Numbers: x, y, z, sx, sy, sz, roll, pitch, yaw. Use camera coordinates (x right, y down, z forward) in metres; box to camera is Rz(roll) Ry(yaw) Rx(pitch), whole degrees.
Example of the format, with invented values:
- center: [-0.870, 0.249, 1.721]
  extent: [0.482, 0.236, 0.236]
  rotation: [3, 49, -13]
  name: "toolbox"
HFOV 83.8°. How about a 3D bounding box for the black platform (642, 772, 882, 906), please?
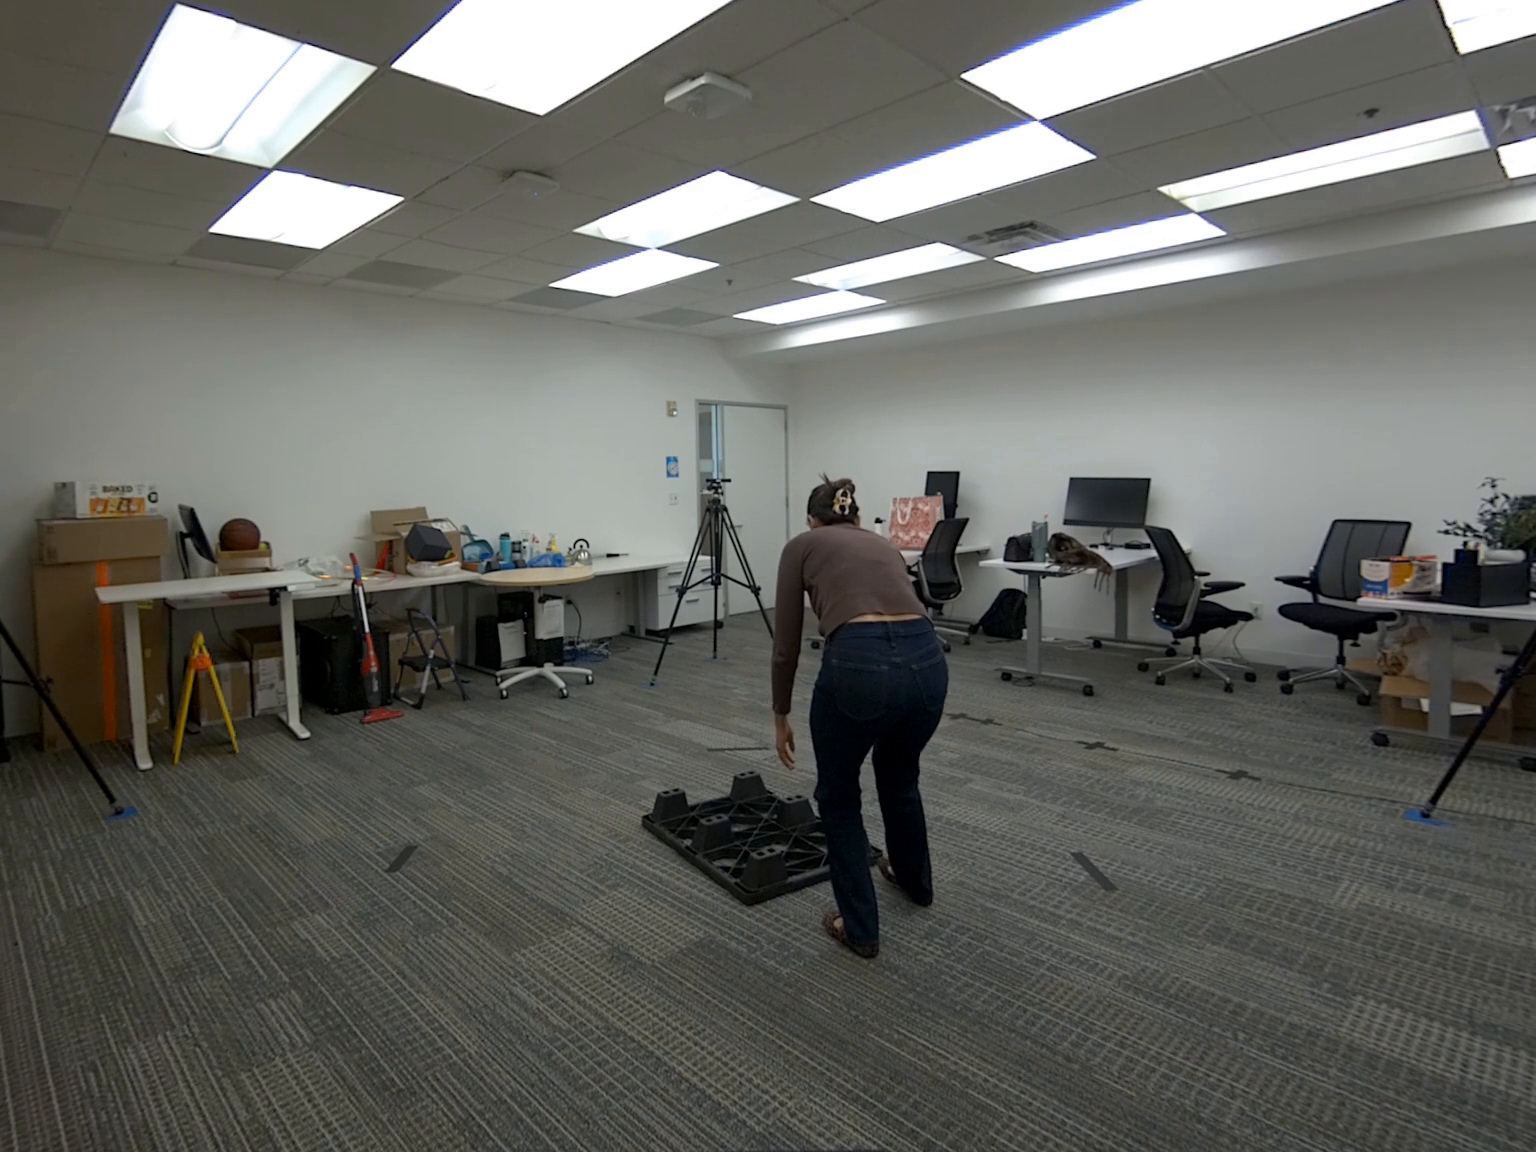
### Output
- center: [-0.053, 0.957, 3.279]
  extent: [0.590, 0.143, 0.829]
  rotation: [-5, 7, -33]
  name: "black platform"
